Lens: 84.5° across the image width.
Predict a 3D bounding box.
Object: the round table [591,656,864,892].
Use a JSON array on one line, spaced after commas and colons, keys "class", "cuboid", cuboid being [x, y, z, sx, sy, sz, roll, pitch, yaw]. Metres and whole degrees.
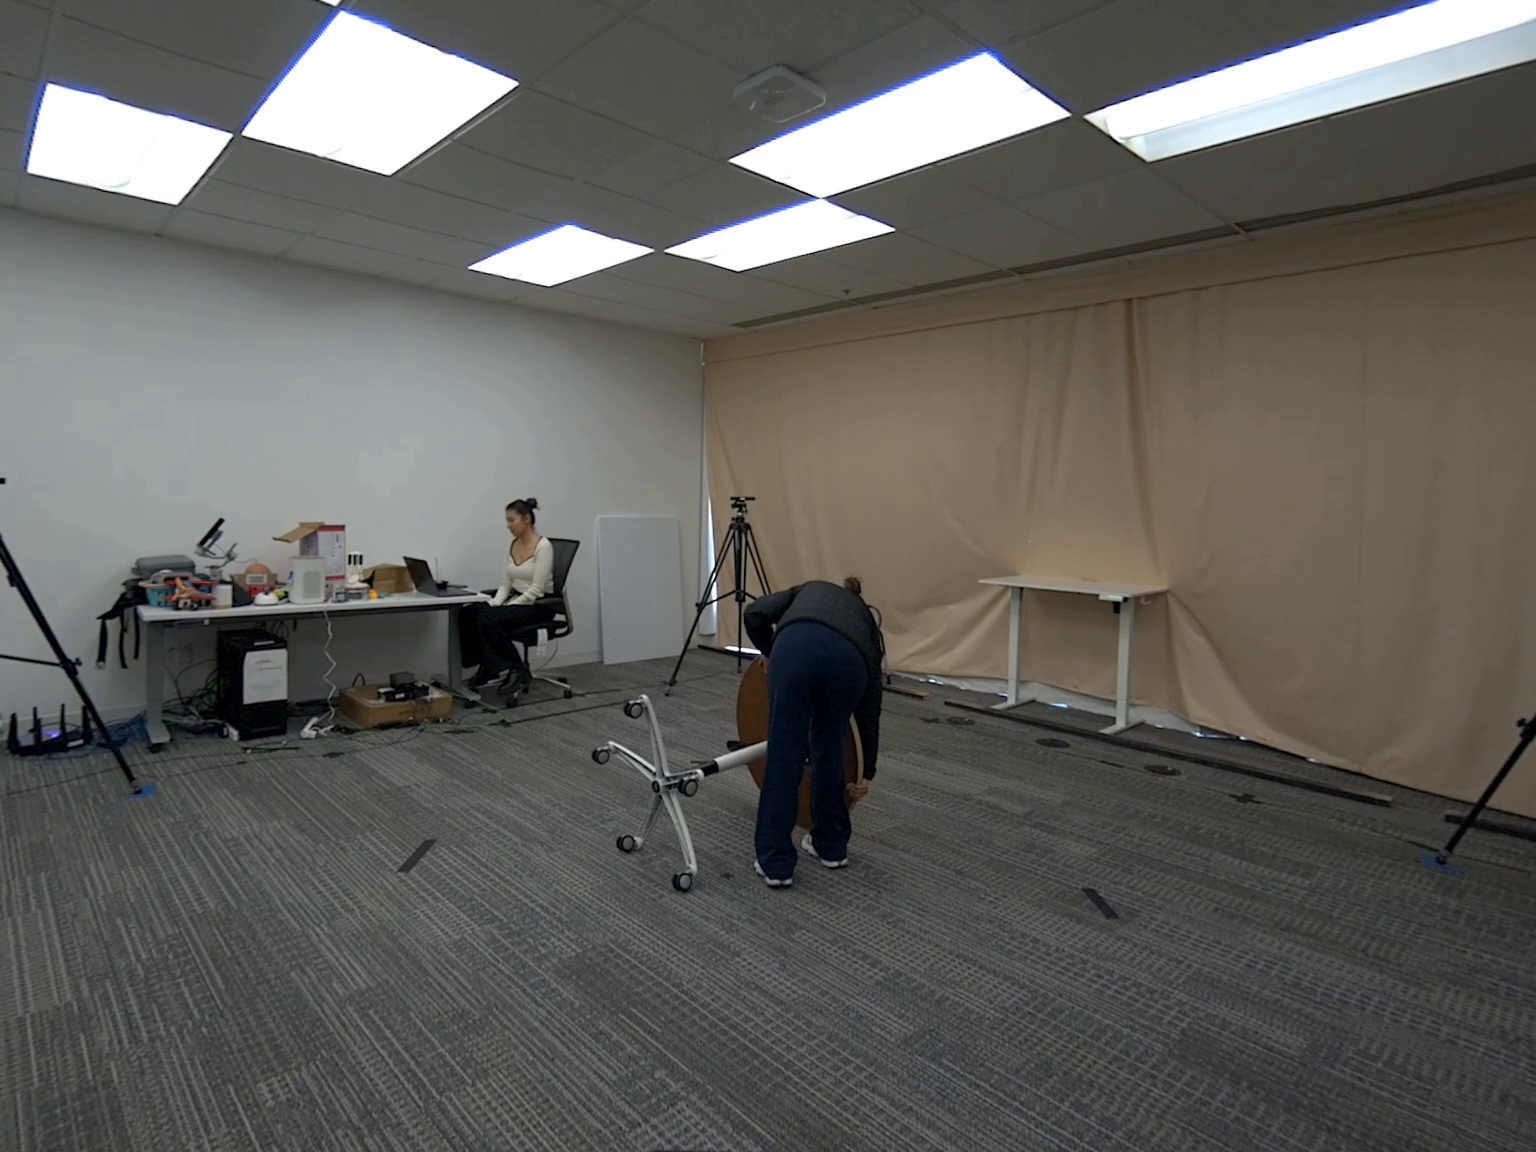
[{"class": "round table", "cuboid": [-0.194, 0.754, 3.344, 0.771, 0.780, 0.805, -10, 10, -39]}]
